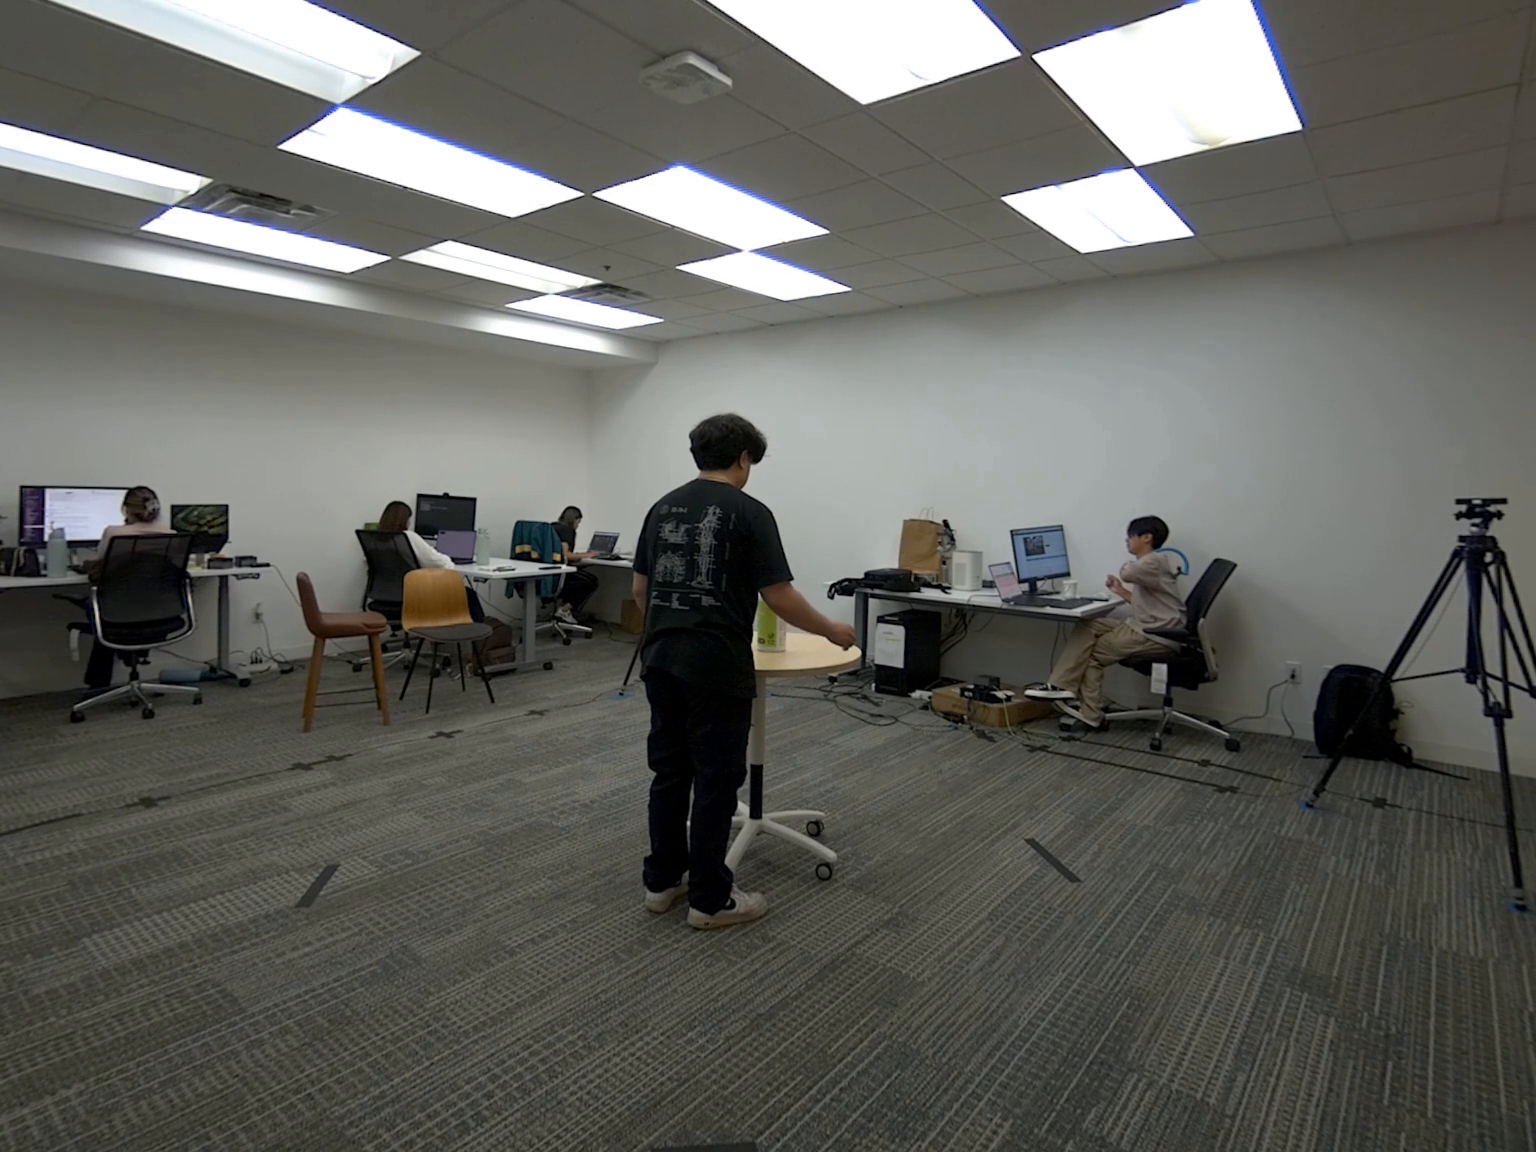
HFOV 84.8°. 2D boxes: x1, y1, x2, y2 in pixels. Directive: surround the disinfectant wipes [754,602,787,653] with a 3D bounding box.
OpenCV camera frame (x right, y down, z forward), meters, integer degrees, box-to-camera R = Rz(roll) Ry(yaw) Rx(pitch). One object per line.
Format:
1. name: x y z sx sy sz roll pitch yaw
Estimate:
1. disinfectant wipes: 0.006 0.170 3.194 0.118 0.217 0.118 2 1 -2
